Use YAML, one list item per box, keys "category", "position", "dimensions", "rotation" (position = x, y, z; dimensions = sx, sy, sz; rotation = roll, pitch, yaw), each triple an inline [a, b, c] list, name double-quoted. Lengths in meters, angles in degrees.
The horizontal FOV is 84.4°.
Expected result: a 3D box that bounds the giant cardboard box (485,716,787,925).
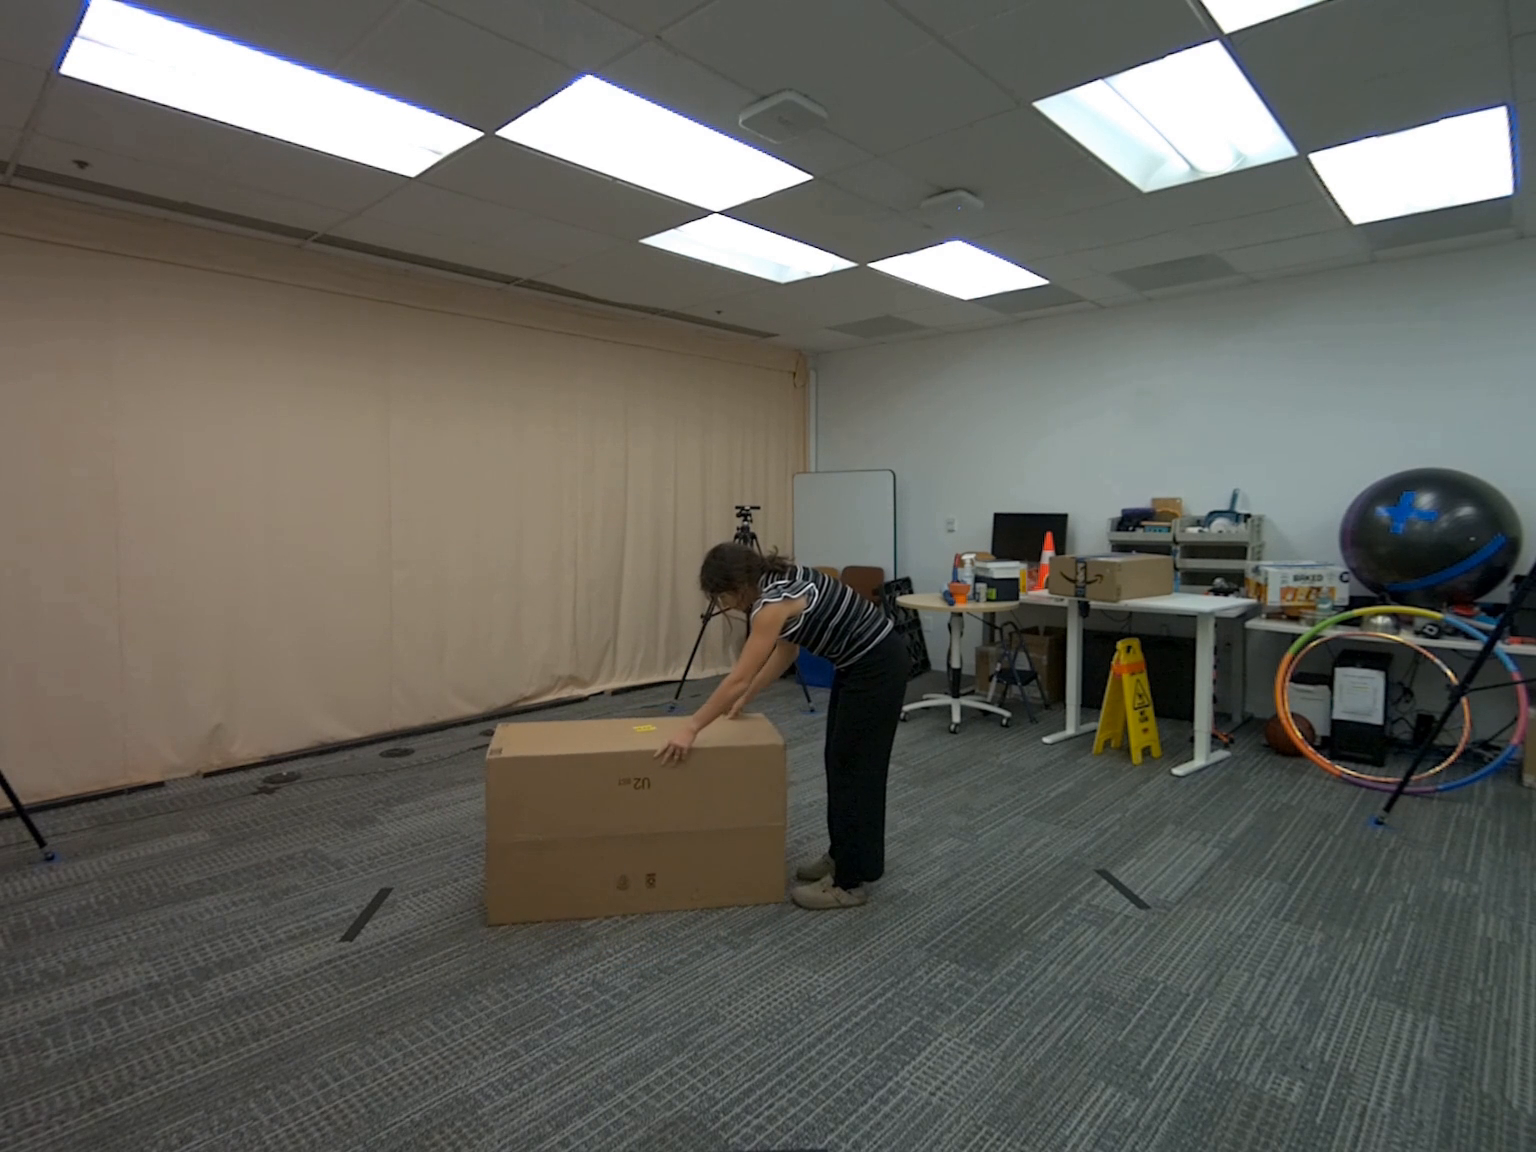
- category: "giant cardboard box"
  position: [-0.482, 0.847, 3.077]
  dimensions: [1.016, 0.576, 0.431]
  rotation: [-1, 4, -9]
